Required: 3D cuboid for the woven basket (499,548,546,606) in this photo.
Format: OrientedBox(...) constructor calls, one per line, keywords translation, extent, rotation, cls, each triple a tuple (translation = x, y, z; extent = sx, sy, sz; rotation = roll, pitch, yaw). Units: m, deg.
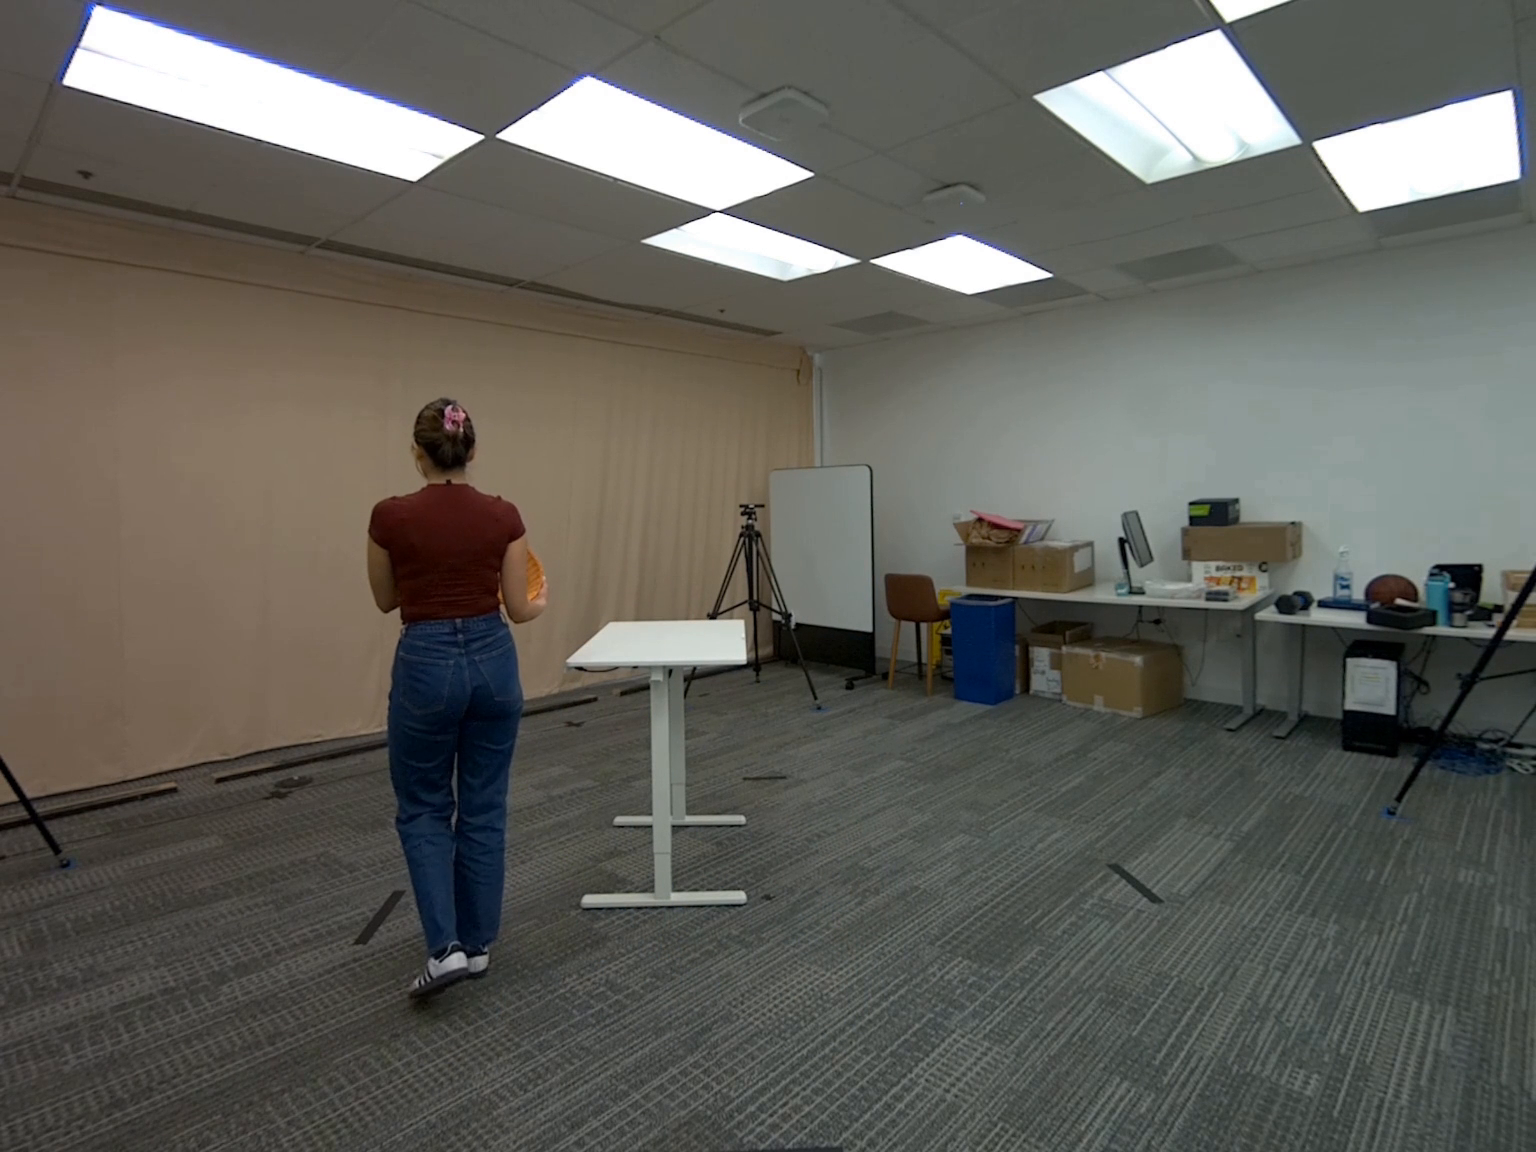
OrientedBox(translation=(-0.932, -0.031, 2.858), extent=(0.074, 0.350, 0.249), rotation=(-38, 2, 43), cls="woven basket")
